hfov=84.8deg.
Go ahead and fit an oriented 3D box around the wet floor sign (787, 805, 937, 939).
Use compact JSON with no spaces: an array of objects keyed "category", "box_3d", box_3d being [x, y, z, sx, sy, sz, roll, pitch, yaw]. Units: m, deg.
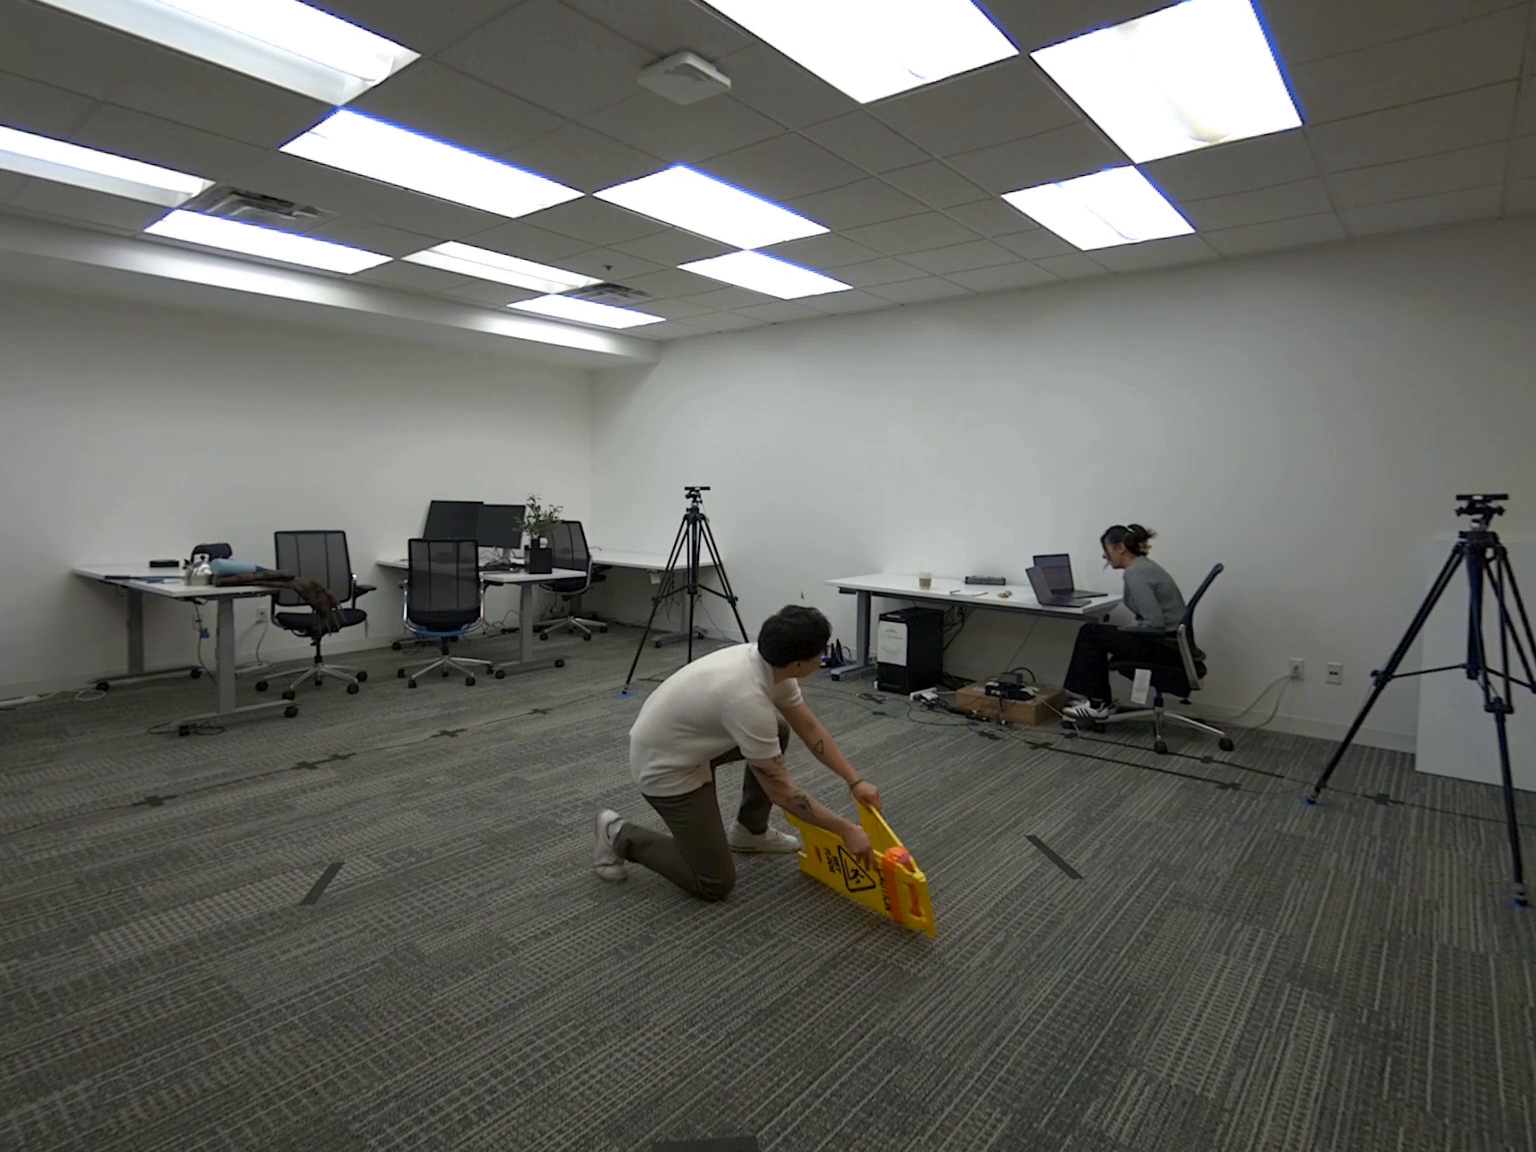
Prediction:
[{"category":"wet floor sign","box_3d":[0.341,0.948,2.829,0.285,0.278,0.665,-18,14,-22]}]
